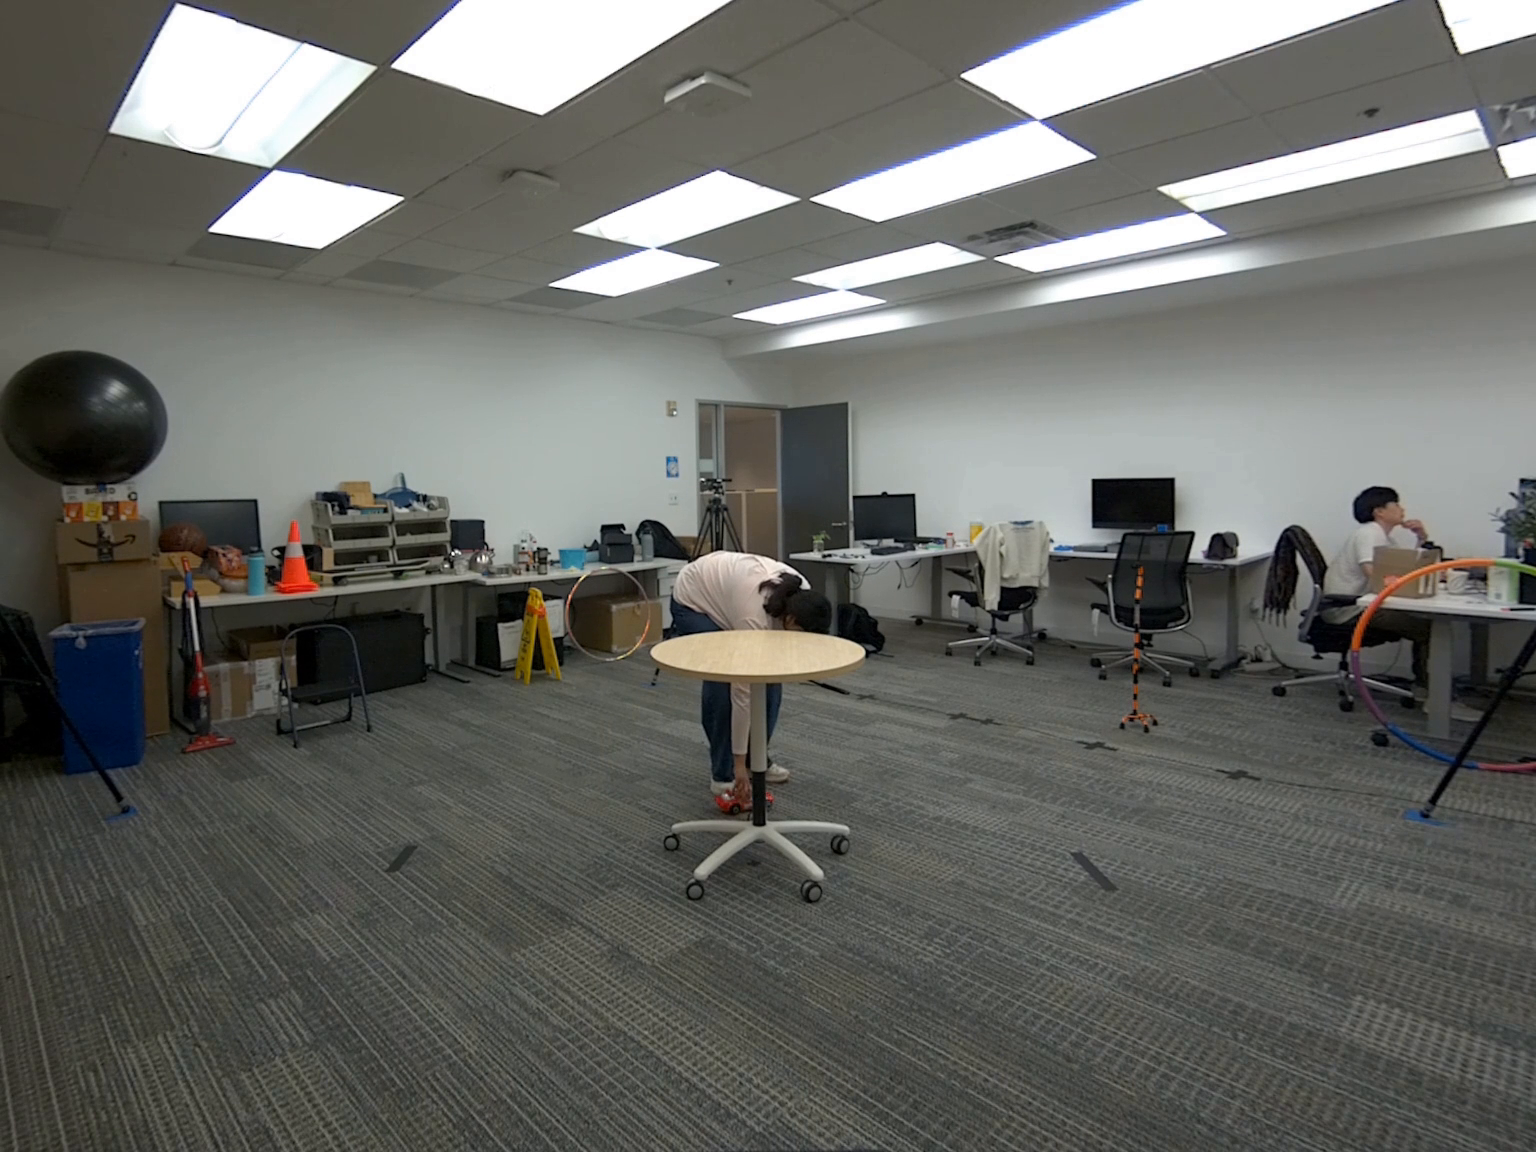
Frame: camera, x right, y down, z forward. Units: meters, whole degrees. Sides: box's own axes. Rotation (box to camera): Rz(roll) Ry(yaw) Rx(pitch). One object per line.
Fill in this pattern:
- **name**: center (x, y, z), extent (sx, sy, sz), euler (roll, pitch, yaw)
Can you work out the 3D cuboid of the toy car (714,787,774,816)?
- **toy car**: center (-0.111, 0.961, 3.625), extent (0.249, 0.083, 0.133), euler (8, 2, -19)
